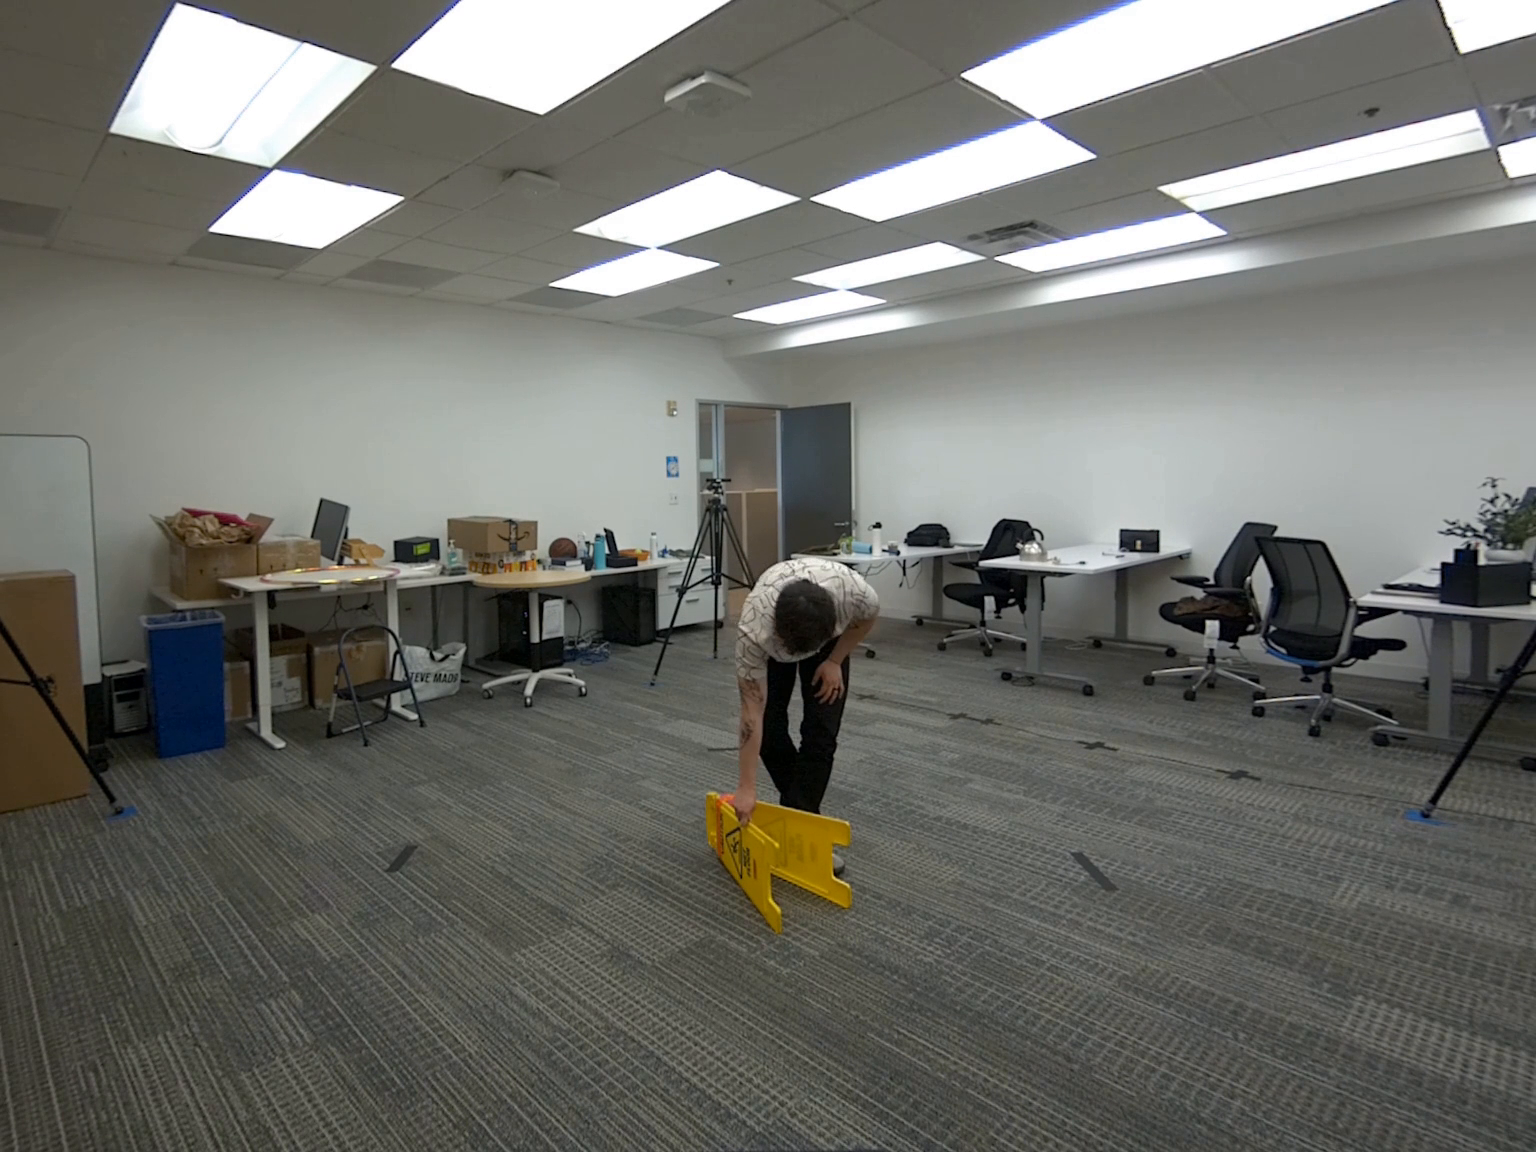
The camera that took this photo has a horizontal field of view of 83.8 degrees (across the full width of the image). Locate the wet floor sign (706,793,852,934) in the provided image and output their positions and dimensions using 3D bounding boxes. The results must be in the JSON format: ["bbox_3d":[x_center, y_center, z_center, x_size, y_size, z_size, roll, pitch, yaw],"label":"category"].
[{"bbox_3d":[-0.034,0.930,2.957,0.282,0.281,0.664,-4,5,-35],"label":"wet floor sign"}]
